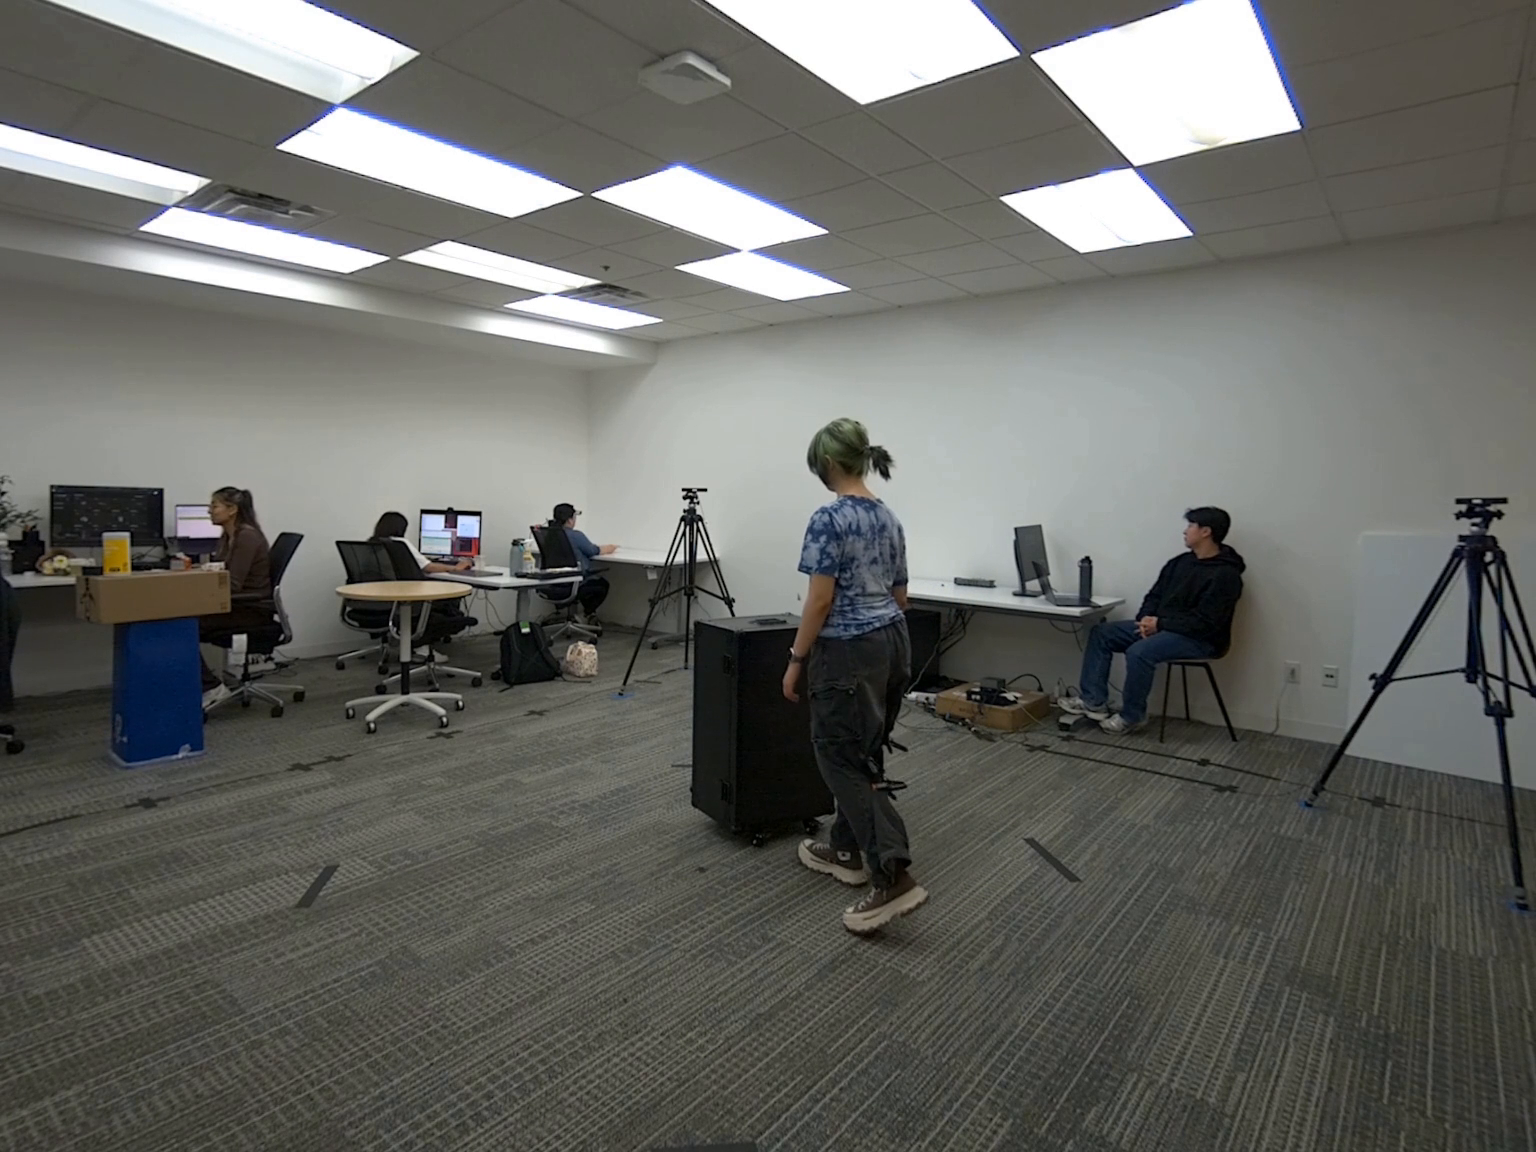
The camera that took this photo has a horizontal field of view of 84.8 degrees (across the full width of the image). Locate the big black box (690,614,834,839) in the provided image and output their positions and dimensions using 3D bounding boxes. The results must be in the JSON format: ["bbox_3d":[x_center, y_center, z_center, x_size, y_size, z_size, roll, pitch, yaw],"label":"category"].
[{"bbox_3d":[-0.038,0.609,3.511,0.507,0.860,0.408,-1,2,-31],"label":"big black box"}]
